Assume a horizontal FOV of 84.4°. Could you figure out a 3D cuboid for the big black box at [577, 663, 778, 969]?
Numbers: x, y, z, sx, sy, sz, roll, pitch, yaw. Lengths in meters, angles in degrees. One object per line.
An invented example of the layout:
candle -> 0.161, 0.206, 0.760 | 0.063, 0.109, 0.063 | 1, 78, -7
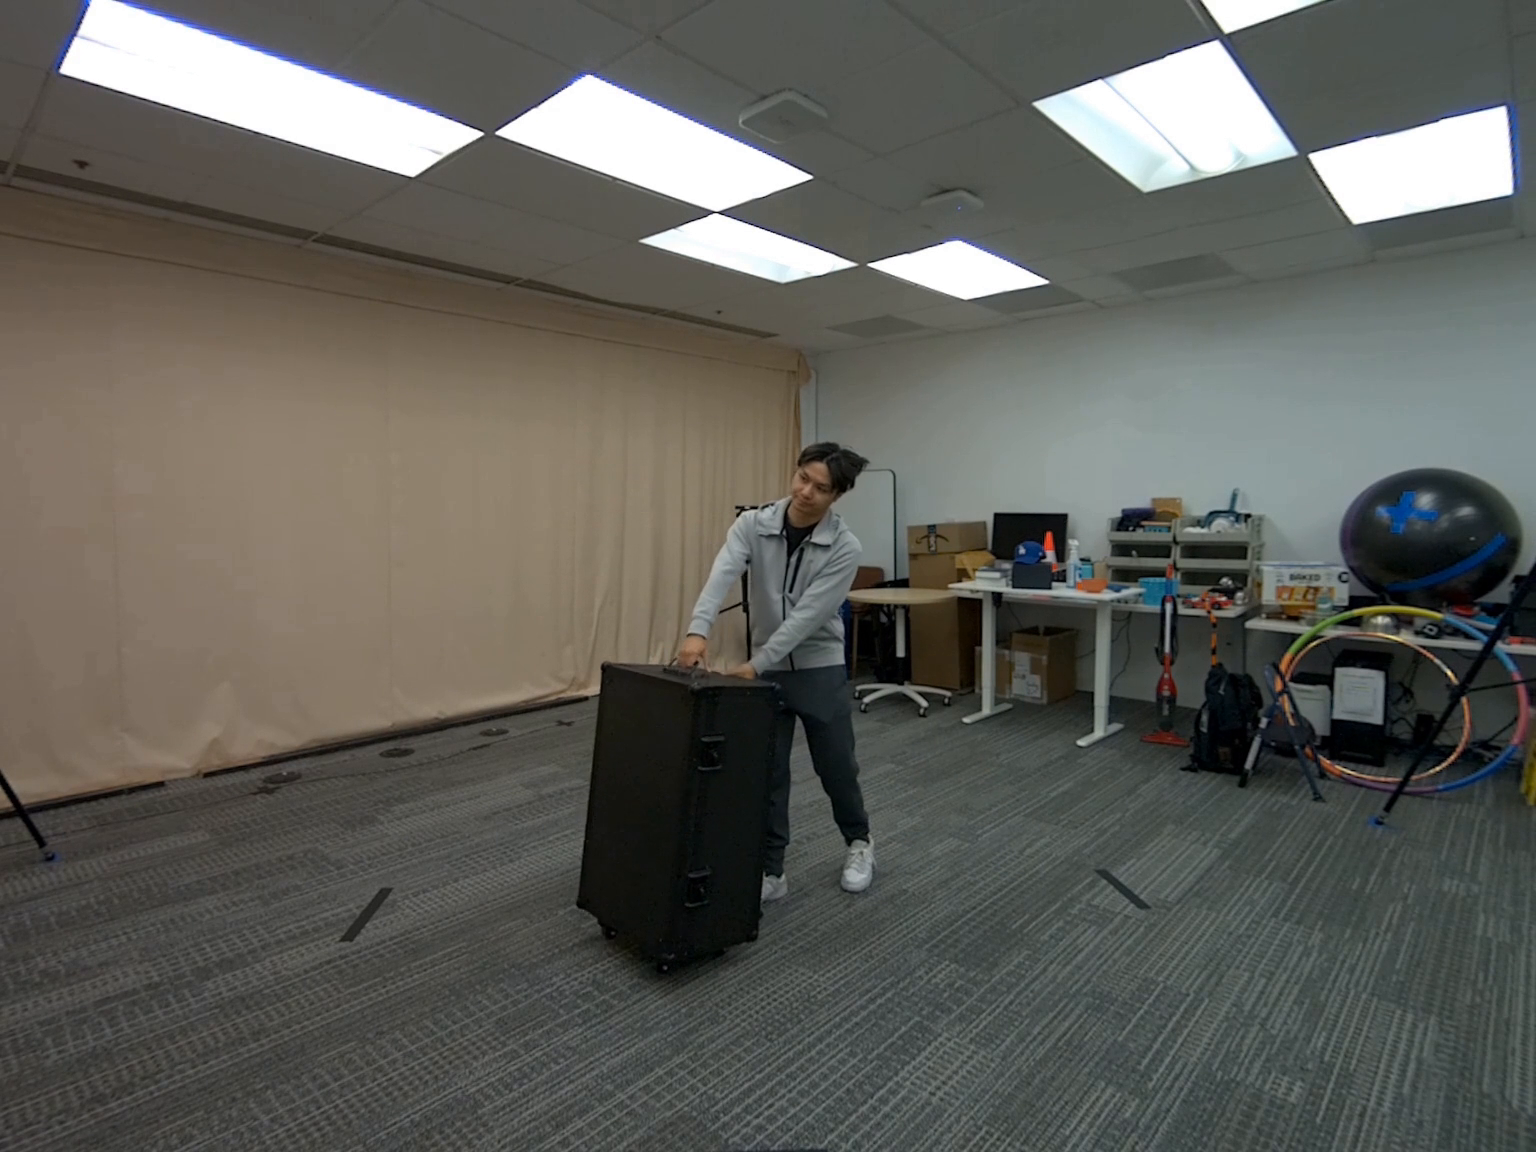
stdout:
big black box -> -0.284, 0.739, 2.674 | 0.383, 0.863, 0.538 | 9, -4, -43
